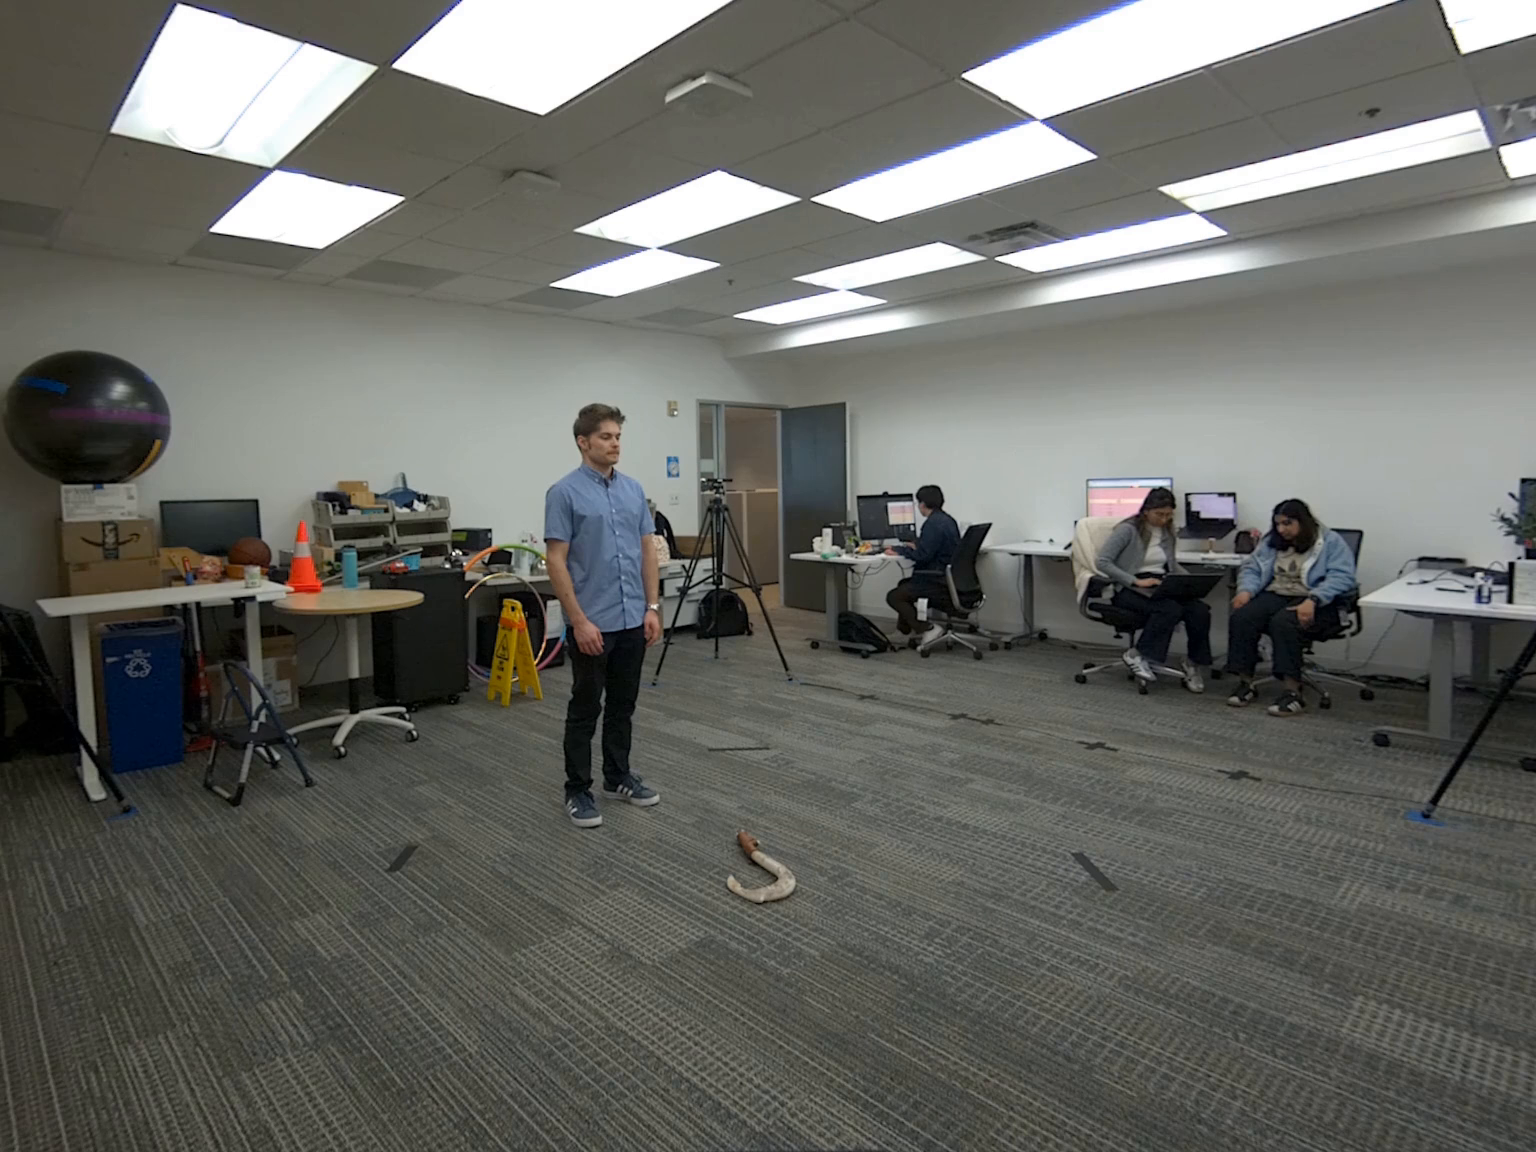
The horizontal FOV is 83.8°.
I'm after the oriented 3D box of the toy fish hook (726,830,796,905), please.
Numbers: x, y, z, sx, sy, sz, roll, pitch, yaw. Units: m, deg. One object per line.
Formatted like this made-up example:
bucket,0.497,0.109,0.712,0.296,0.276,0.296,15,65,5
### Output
toy fish hook,-0.065,1.028,3.052,0.221,0.048,0.517,-3,6,-19
